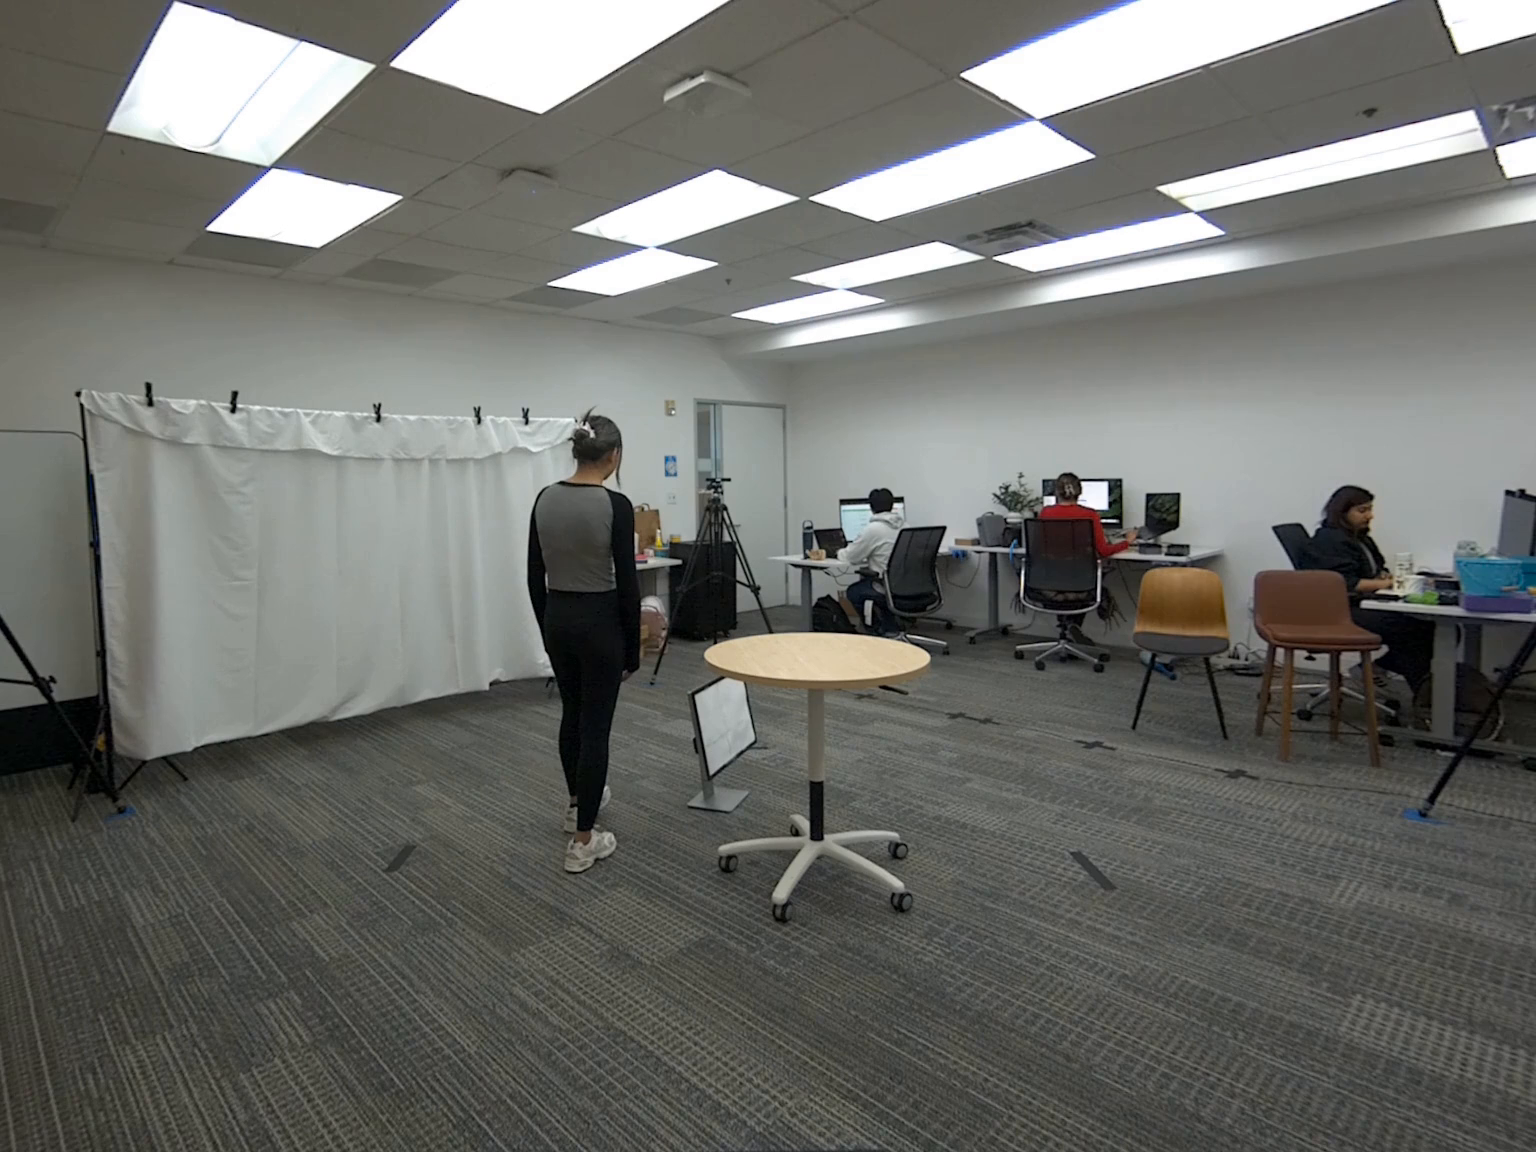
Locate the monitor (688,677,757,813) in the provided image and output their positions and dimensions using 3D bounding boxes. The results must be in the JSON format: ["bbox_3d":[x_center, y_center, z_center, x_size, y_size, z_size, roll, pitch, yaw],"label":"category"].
[{"bbox_3d":[-0.220,0.710,3.707,0.191,0.521,0.531,2,5,19],"label":"monitor"}]
